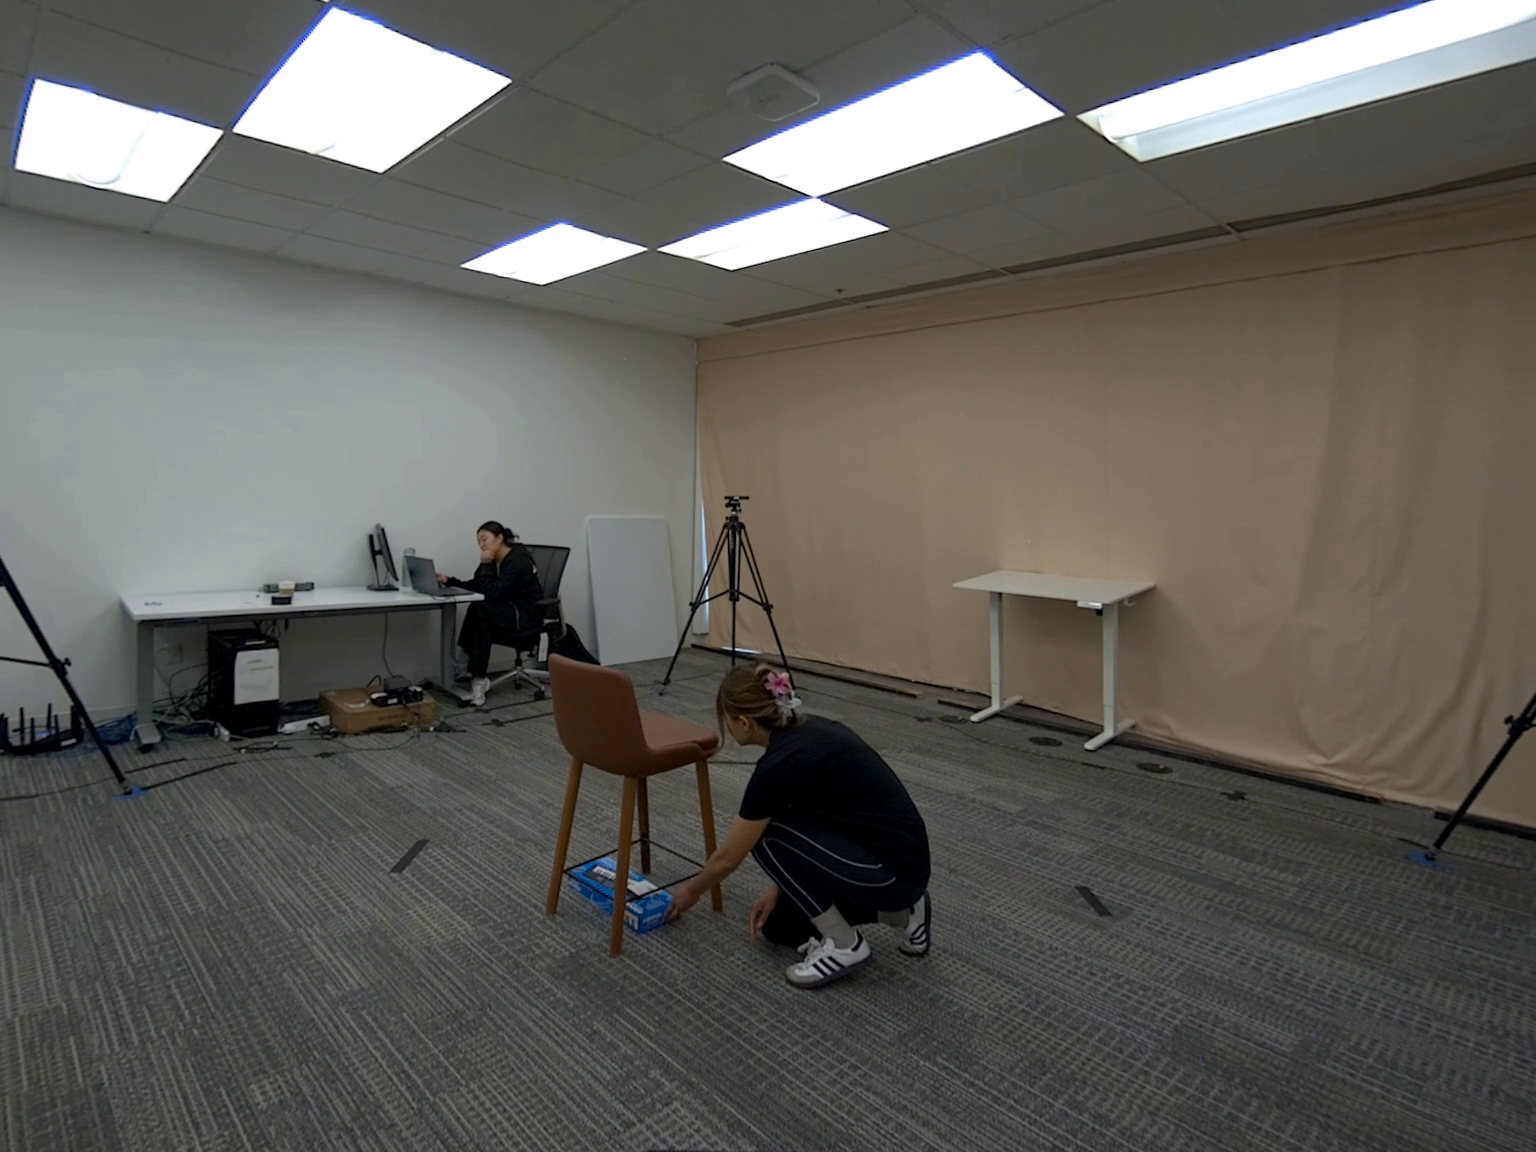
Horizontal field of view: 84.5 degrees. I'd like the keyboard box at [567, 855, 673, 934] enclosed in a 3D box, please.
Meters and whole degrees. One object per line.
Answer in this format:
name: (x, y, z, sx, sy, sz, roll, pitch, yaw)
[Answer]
keyboard box: (-0.500, 1.077, 2.888, 0.172, 0.059, 0.448, -3, 7, -43)
